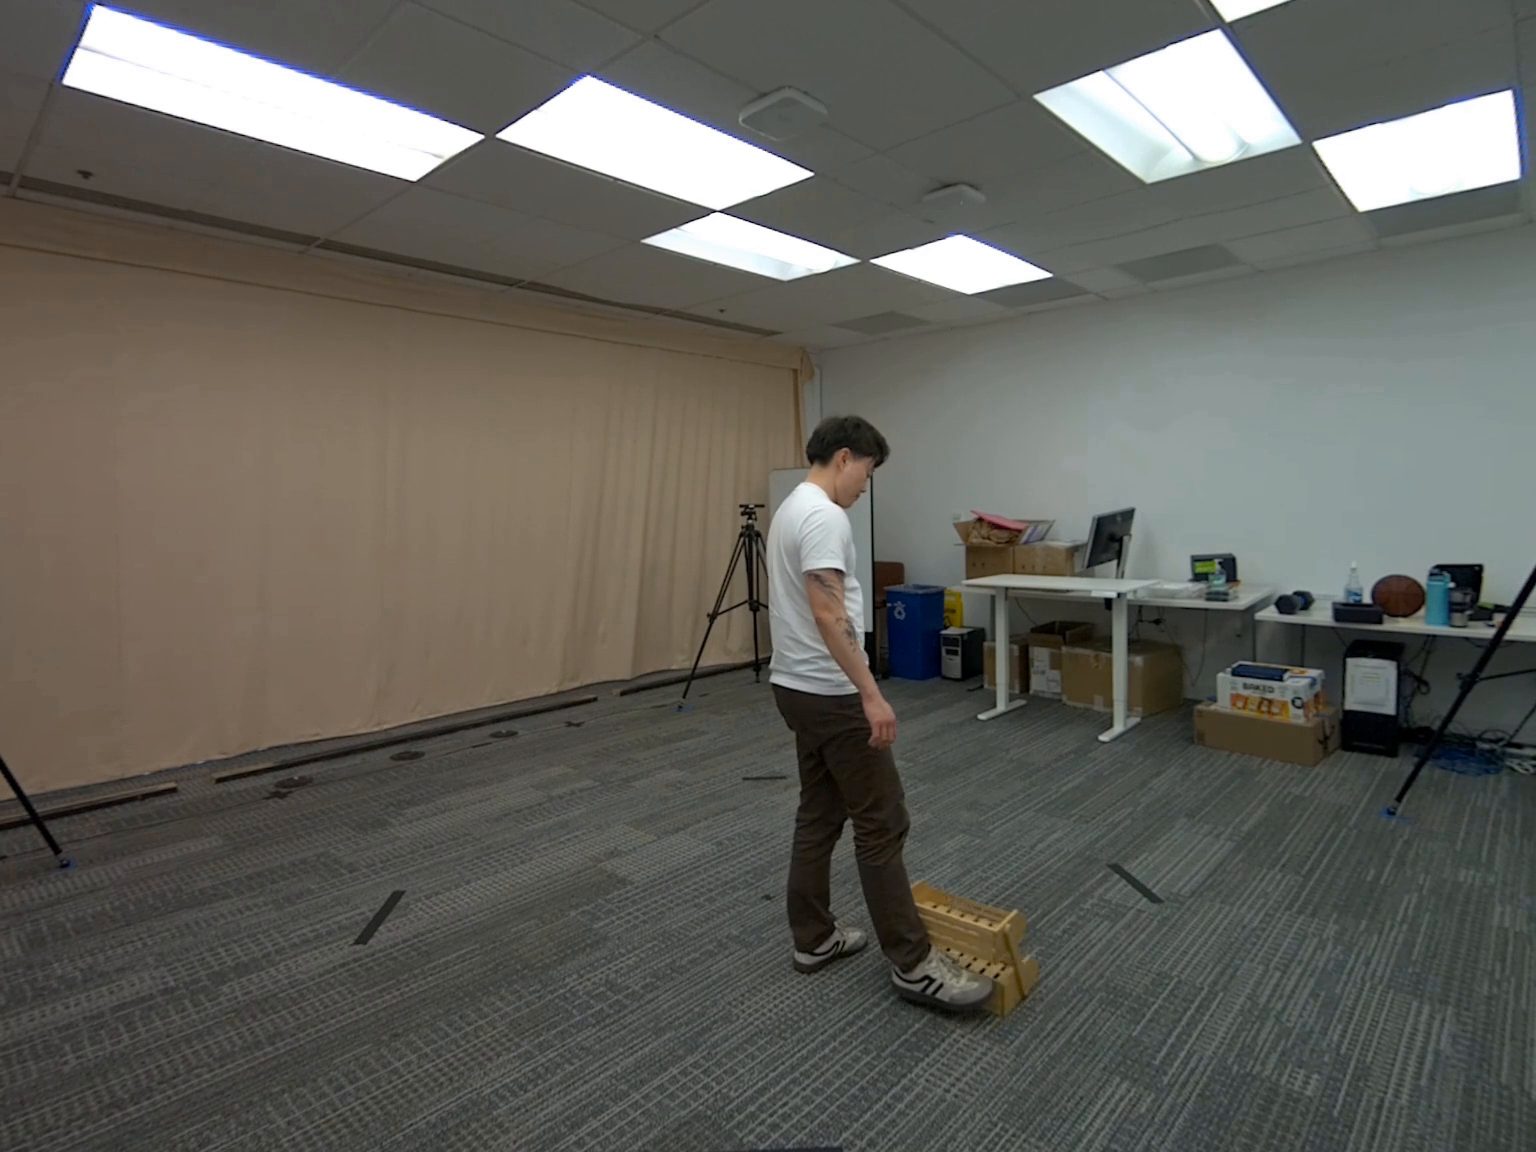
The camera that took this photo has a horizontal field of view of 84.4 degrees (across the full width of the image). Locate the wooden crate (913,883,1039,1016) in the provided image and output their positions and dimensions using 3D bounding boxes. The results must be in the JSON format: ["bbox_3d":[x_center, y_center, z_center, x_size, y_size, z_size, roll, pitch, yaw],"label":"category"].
[{"bbox_3d":[0.586,1.047,2.428,0.335,0.273,0.293,2,5,40],"label":"wooden crate"}]
